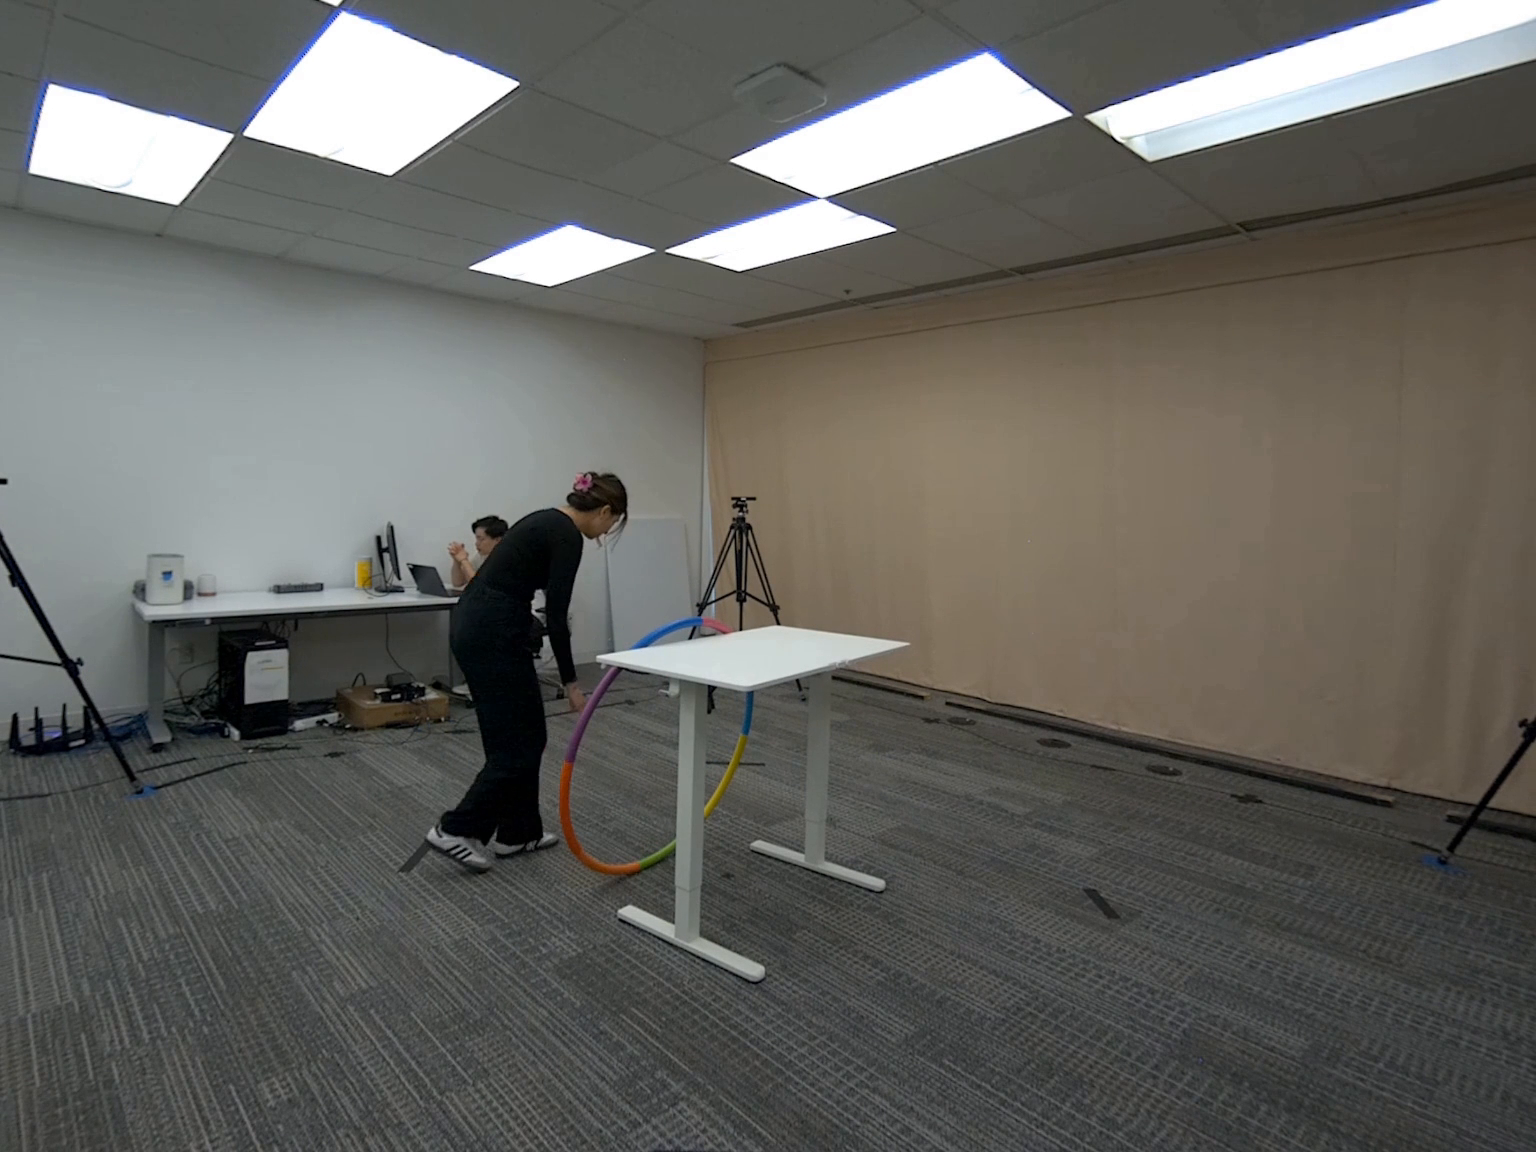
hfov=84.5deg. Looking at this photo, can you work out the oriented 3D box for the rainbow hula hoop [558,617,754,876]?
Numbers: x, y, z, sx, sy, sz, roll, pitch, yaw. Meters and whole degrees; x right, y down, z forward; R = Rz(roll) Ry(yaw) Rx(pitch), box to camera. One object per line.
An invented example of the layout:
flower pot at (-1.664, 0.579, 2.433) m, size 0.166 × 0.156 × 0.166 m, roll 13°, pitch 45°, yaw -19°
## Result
rainbow hula hoop at (-0.375, 0.623, 3.090) m, size 0.036 × 0.972 × 0.957 m, roll 18°, pitch 13°, yaw 35°
